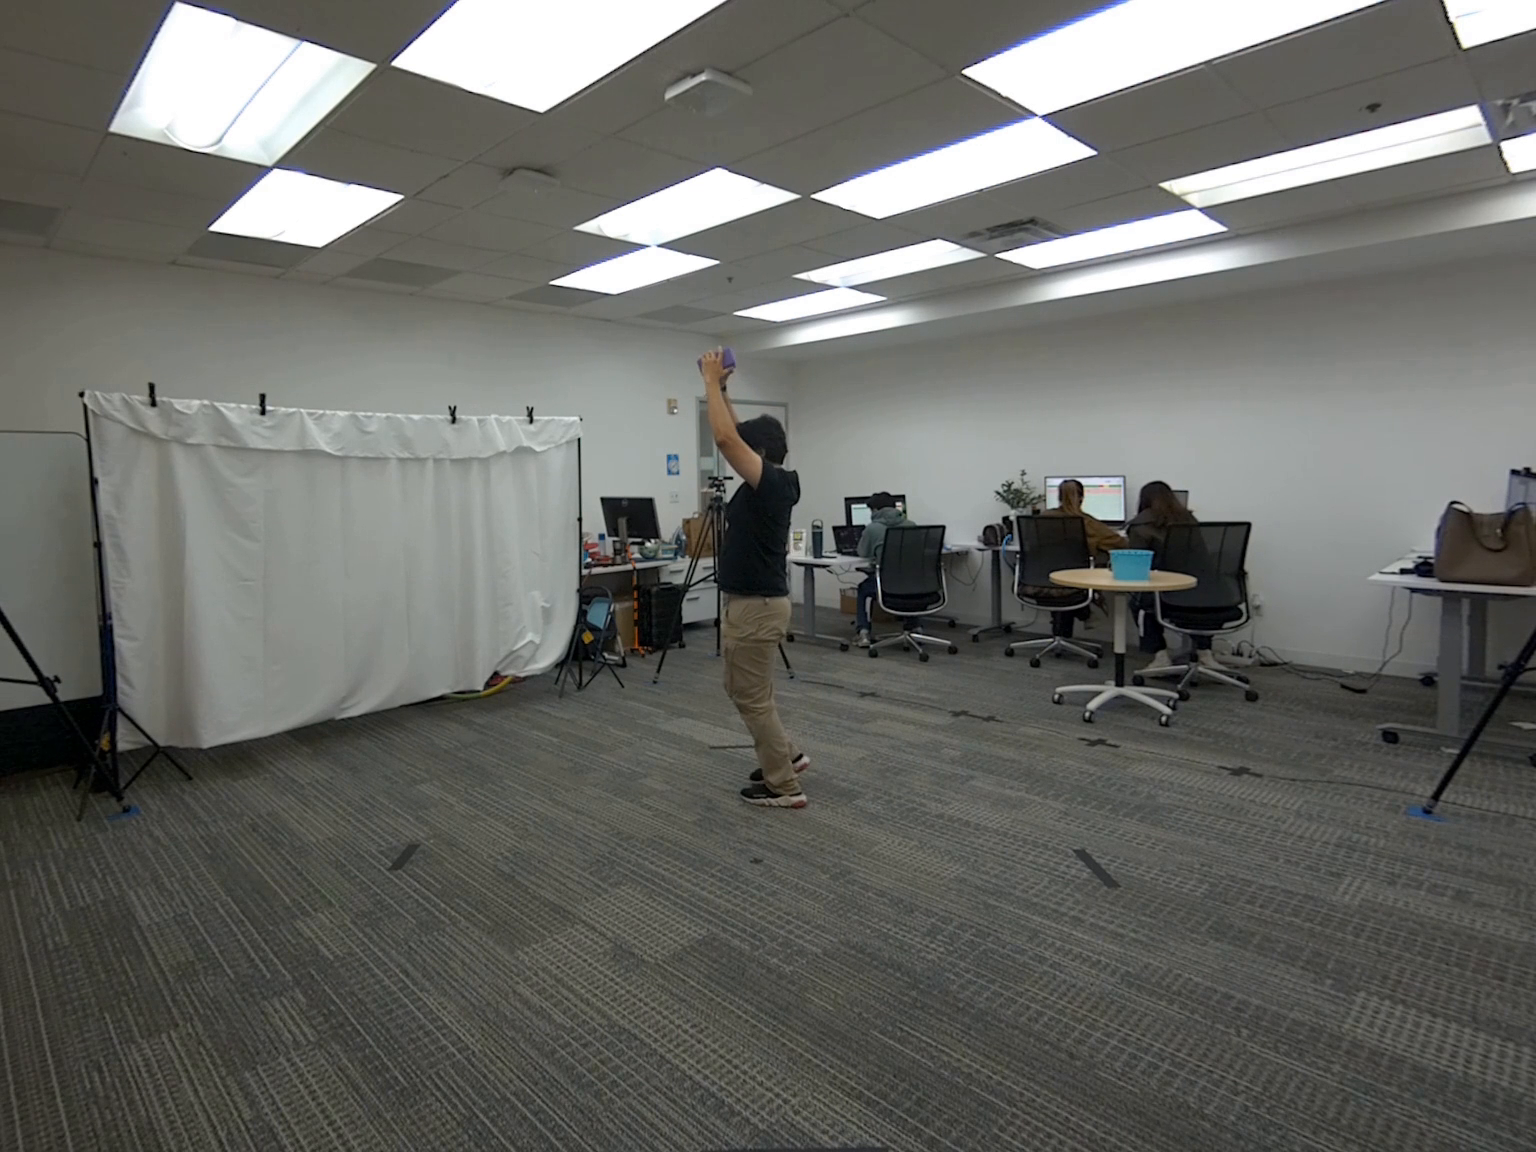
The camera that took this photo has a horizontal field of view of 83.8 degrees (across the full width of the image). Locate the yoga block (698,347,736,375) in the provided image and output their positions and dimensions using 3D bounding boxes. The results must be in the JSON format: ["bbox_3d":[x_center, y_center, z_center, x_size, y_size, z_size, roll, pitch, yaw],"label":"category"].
[{"bbox_3d":[-0.207,-0.890,3.561,0.149,0.076,0.230,-20,9,6],"label":"yoga block"}]
